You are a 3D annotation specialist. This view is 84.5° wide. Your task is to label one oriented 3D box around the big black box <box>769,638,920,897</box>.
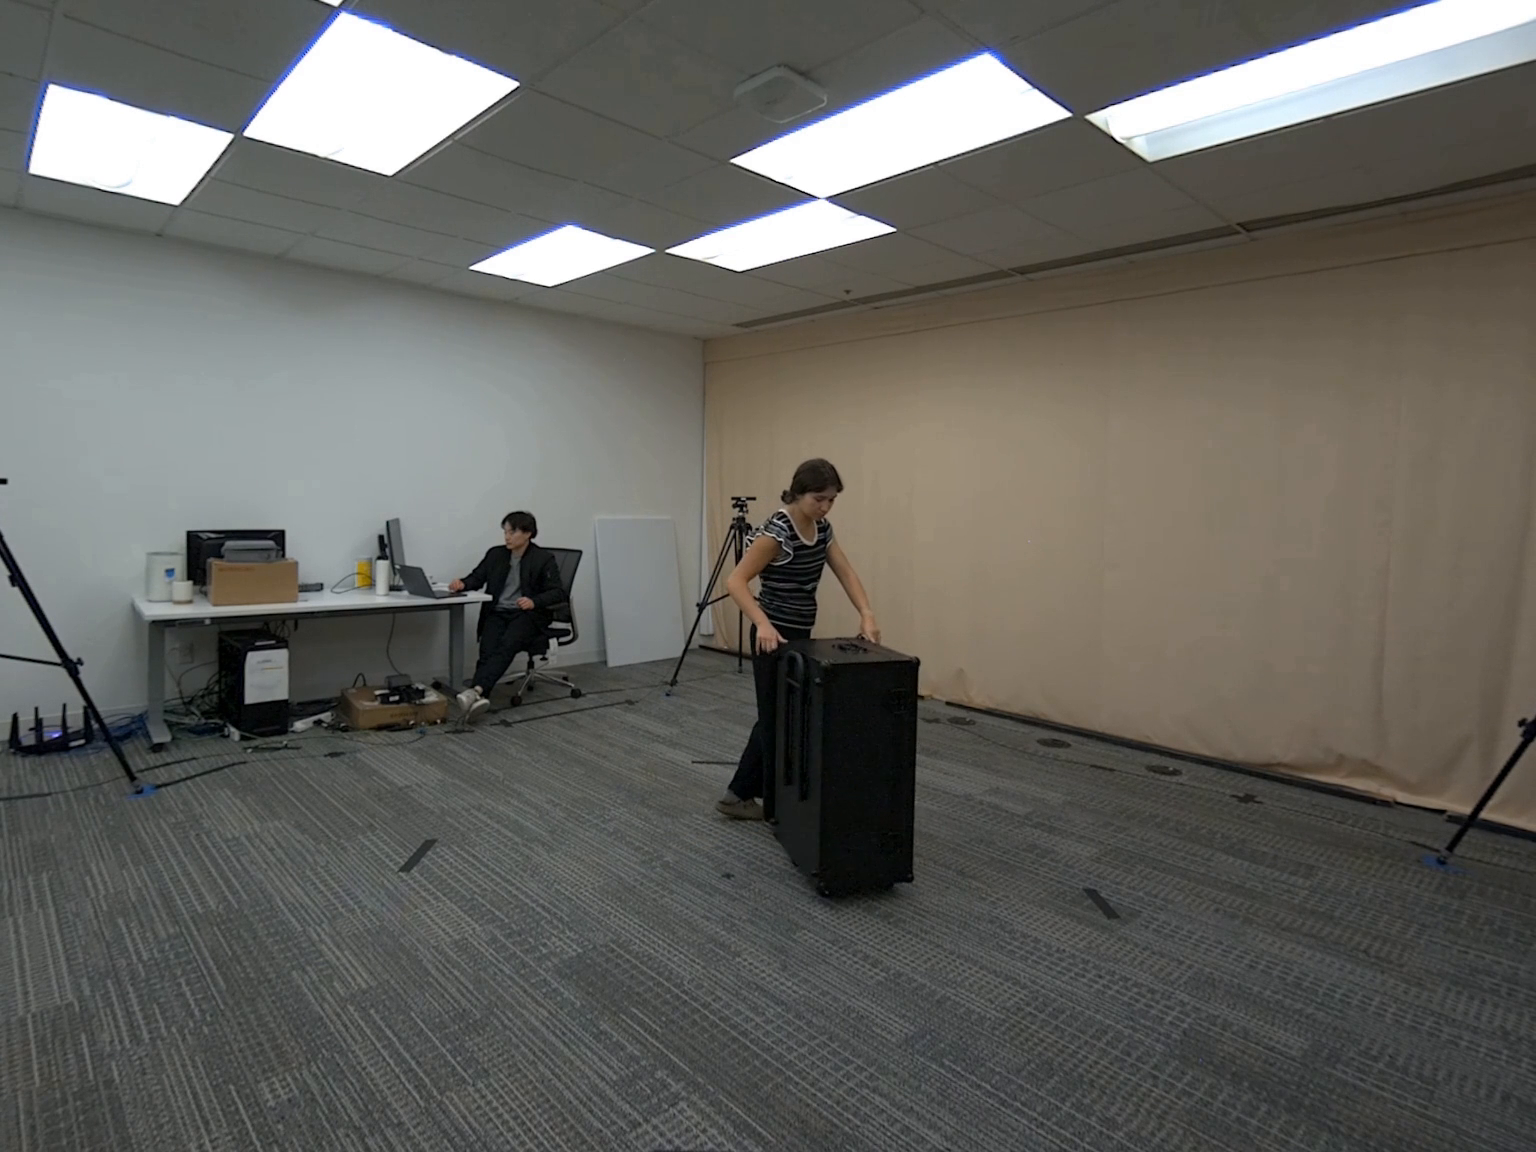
[{"bbox_3d":[0.262,0.694,3.083,0.391,0.859,0.529,-1,4,-17],"label":"big black box"}]
